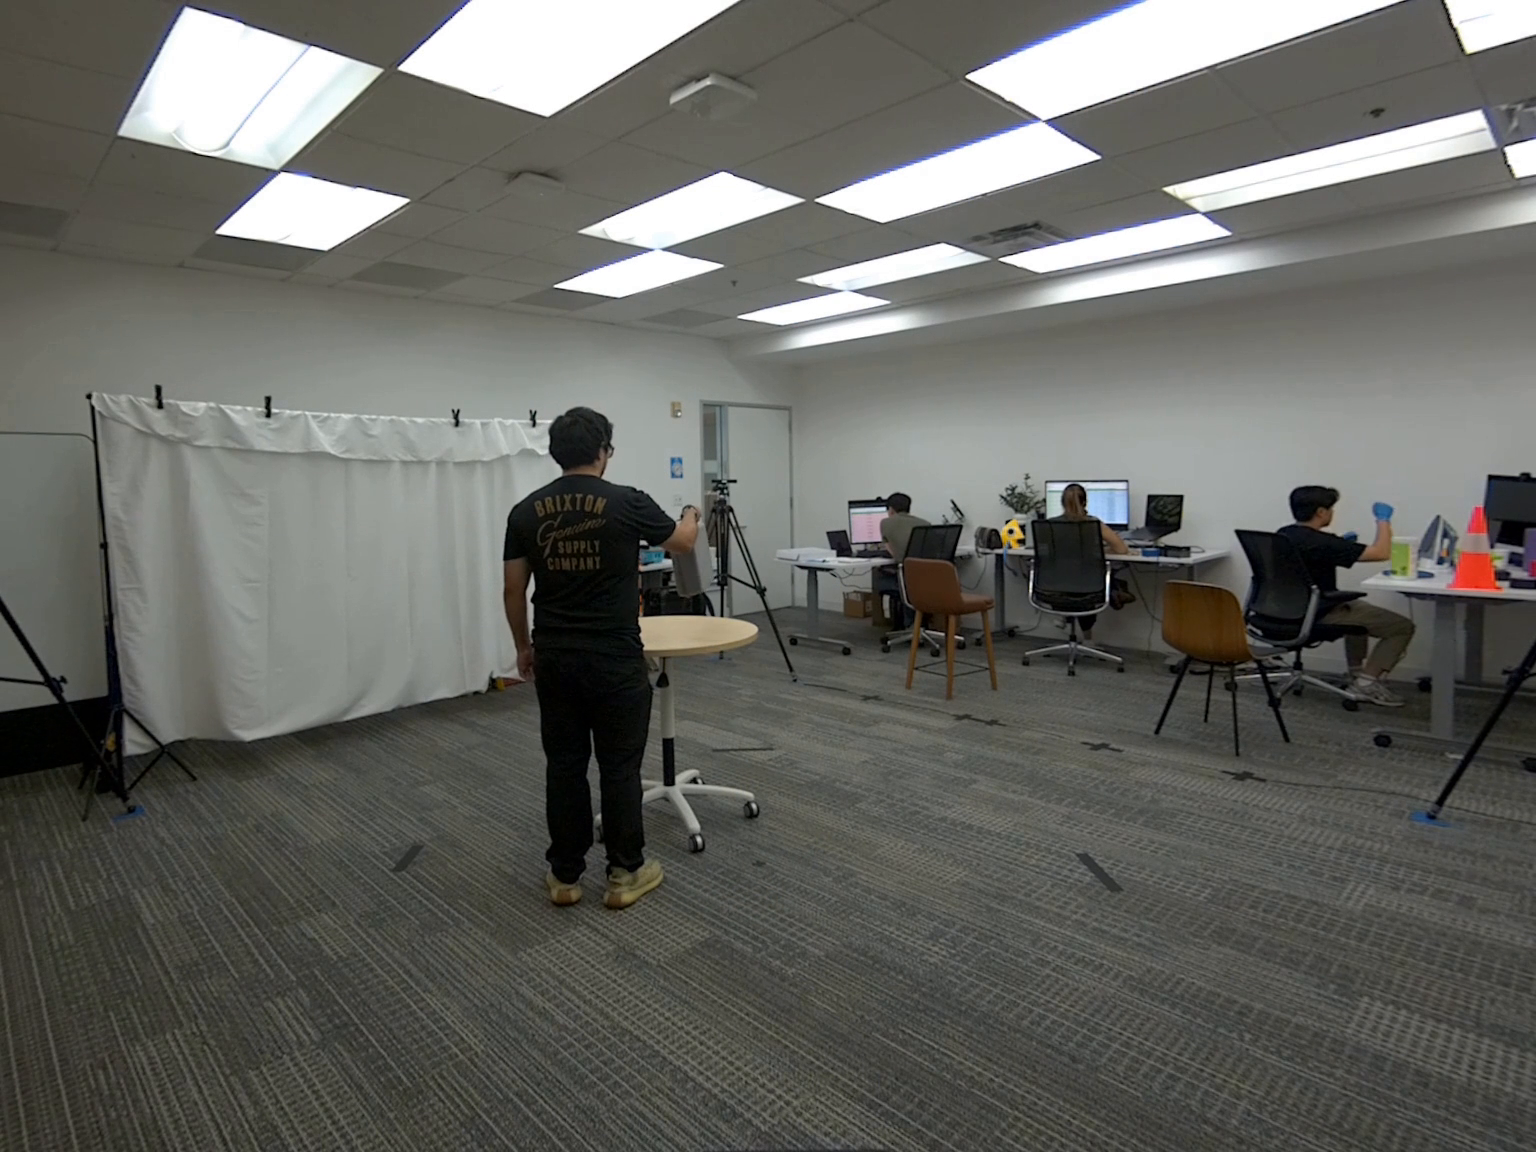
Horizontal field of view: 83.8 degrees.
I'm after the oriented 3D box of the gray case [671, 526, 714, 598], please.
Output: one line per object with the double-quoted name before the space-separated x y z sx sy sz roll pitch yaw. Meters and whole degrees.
"gray case" -0.291 -0.070 3.342 0.105 0.258 0.257 -4 12 9
